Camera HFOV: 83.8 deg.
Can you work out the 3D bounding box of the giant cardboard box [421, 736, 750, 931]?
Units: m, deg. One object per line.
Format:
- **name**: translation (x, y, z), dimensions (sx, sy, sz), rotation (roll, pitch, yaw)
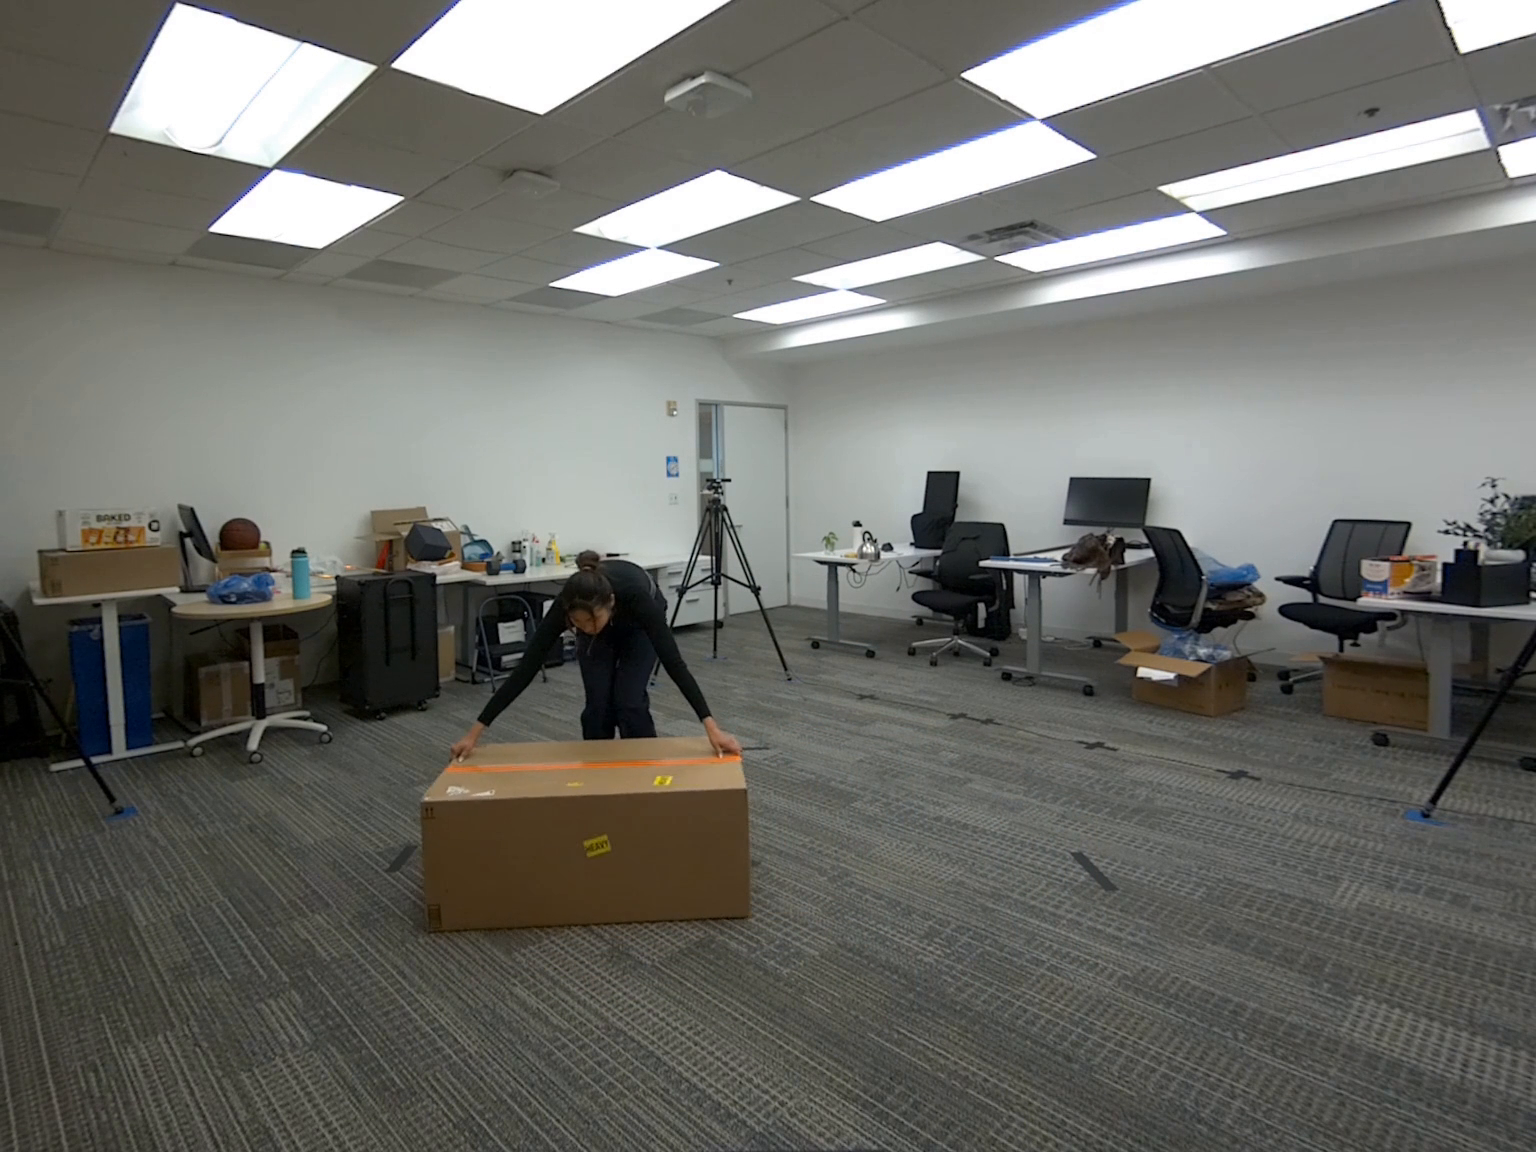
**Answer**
- **giant cardboard box**: translation (-0.594, 0.856, 2.960), dimensions (1.023, 0.424, 0.582), rotation (-2, 5, -3)
